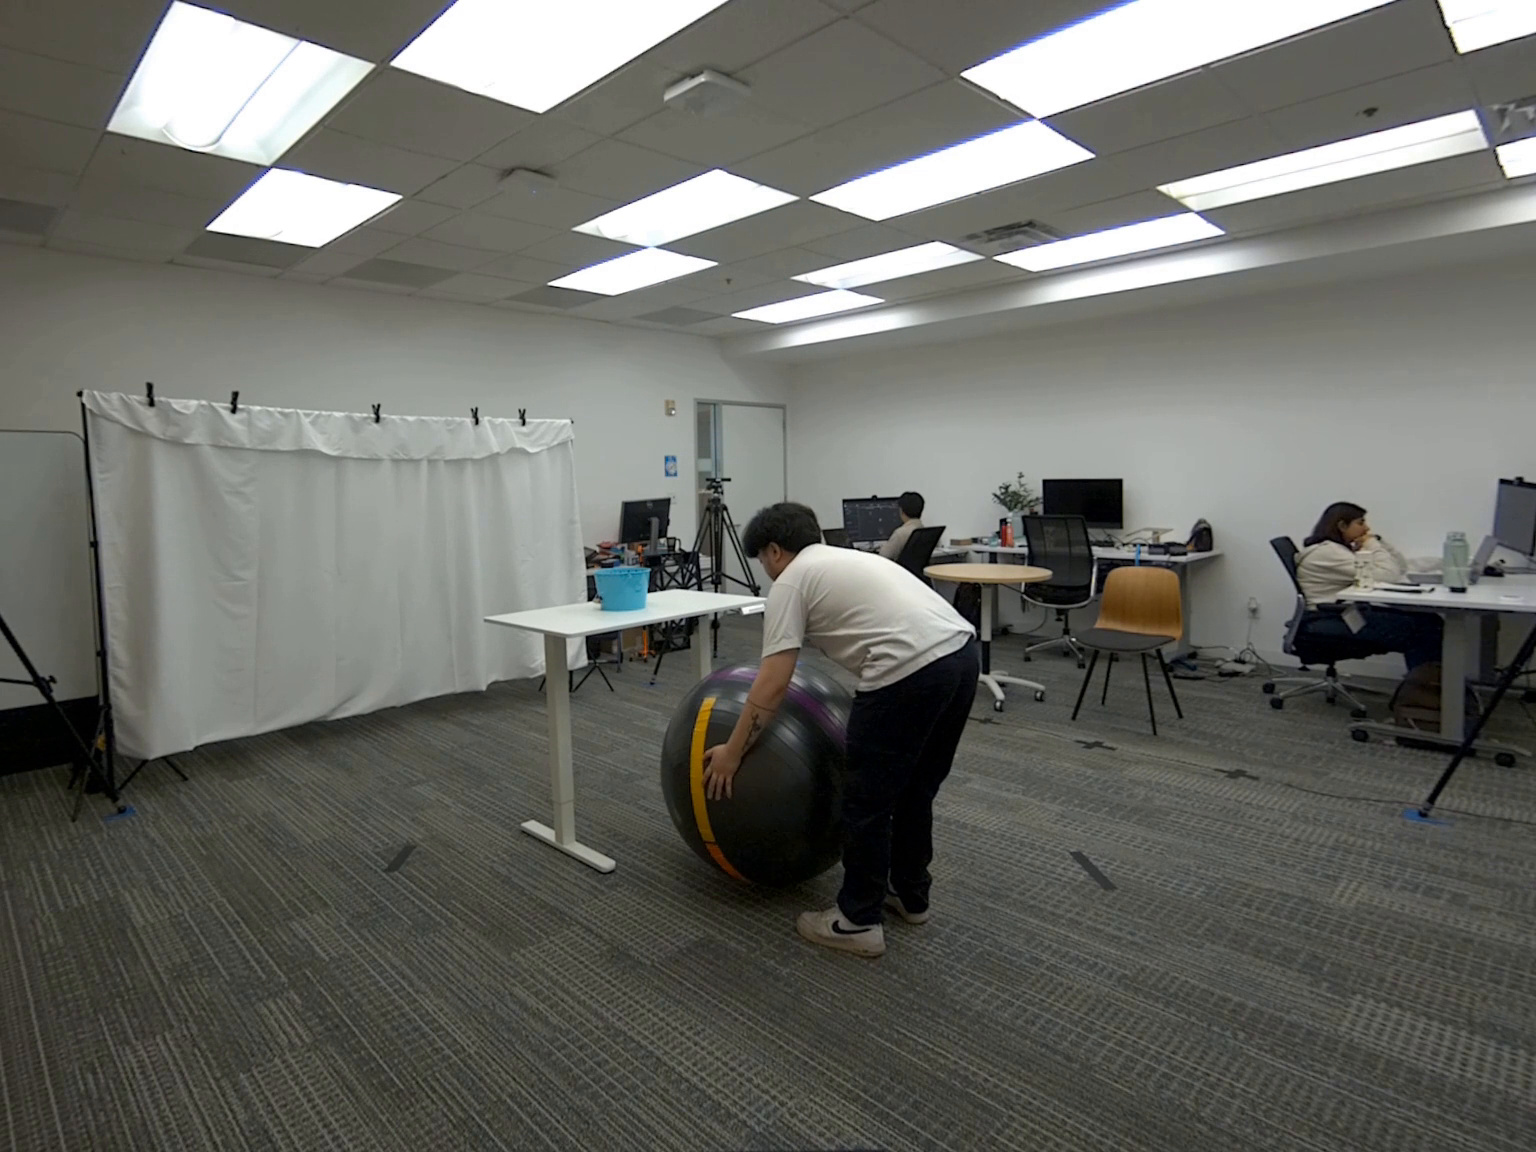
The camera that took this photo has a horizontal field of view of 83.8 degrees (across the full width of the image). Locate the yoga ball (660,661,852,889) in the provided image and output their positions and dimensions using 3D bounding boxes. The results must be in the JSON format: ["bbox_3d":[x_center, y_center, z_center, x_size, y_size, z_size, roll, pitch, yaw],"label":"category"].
[{"bbox_3d":[0.008,0.674,2.973,0.757,0.755,0.762,-1,5,-2],"label":"yoga ball"}]
